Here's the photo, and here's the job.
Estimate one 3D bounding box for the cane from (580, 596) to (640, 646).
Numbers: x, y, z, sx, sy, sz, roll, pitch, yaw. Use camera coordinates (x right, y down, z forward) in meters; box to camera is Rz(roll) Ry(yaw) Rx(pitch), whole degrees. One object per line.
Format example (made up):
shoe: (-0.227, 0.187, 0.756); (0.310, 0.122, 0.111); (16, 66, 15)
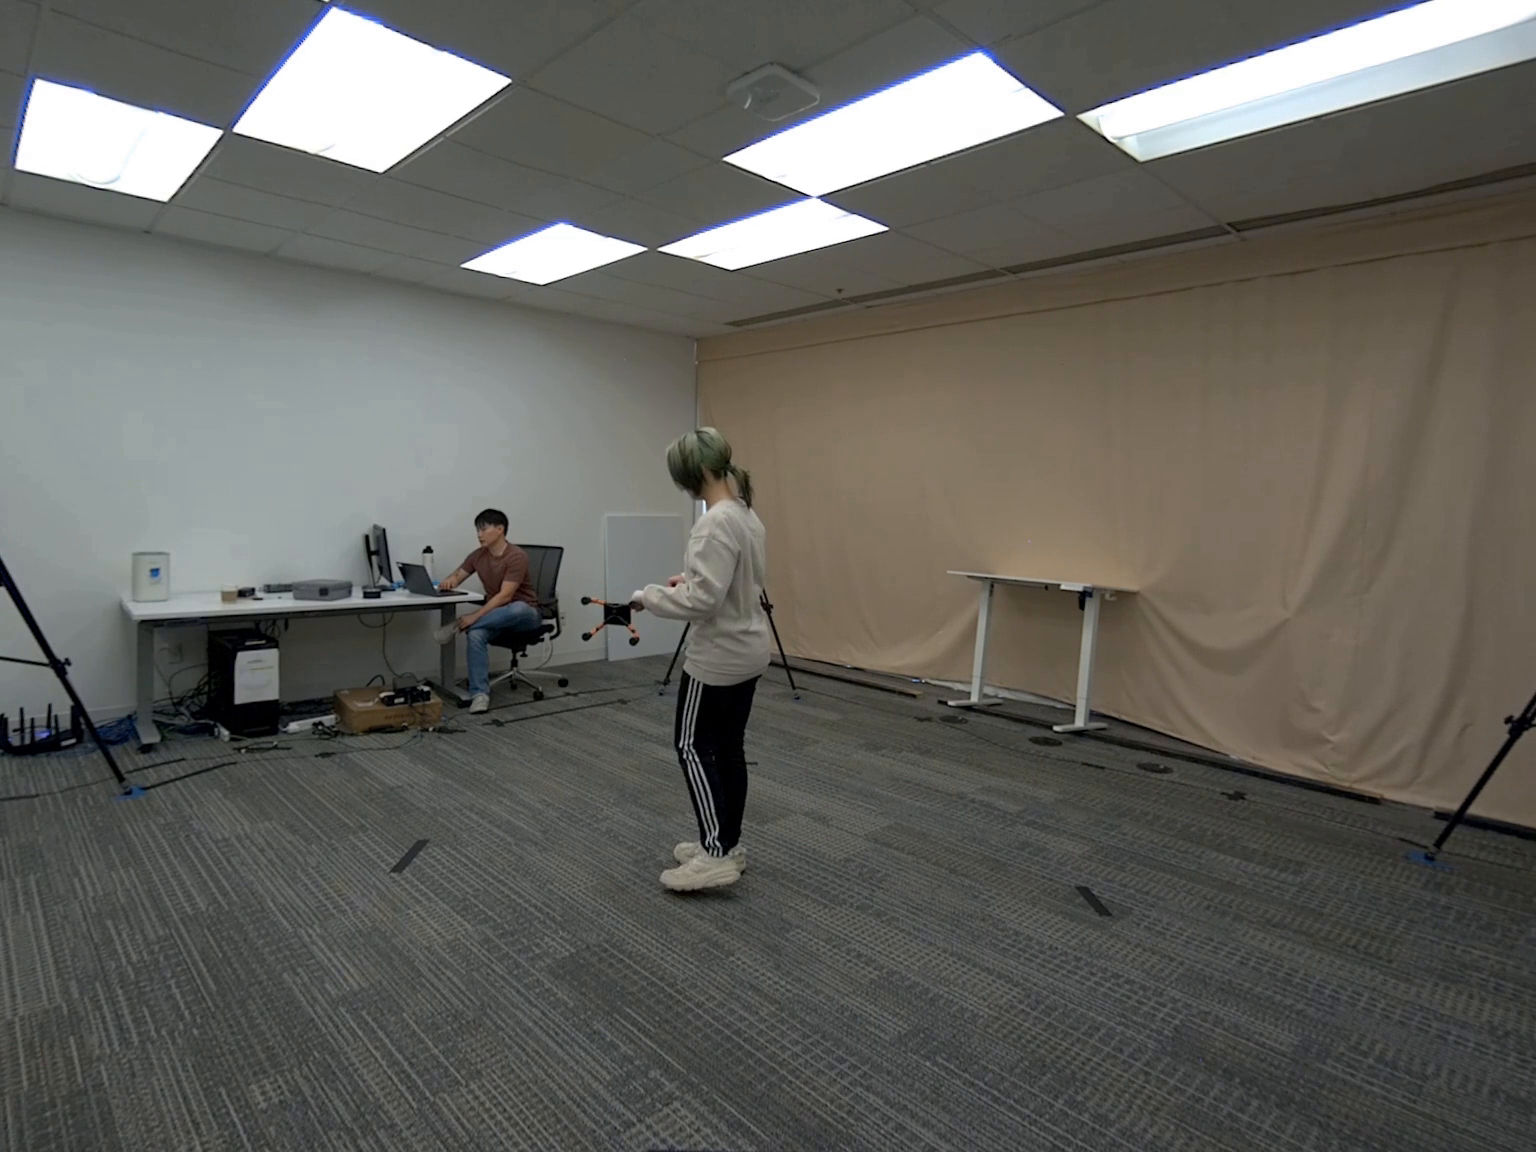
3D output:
cane: (-0.427, 0.079, 3.222); (0.209, 0.150, 0.901); (2, 10, 17)
